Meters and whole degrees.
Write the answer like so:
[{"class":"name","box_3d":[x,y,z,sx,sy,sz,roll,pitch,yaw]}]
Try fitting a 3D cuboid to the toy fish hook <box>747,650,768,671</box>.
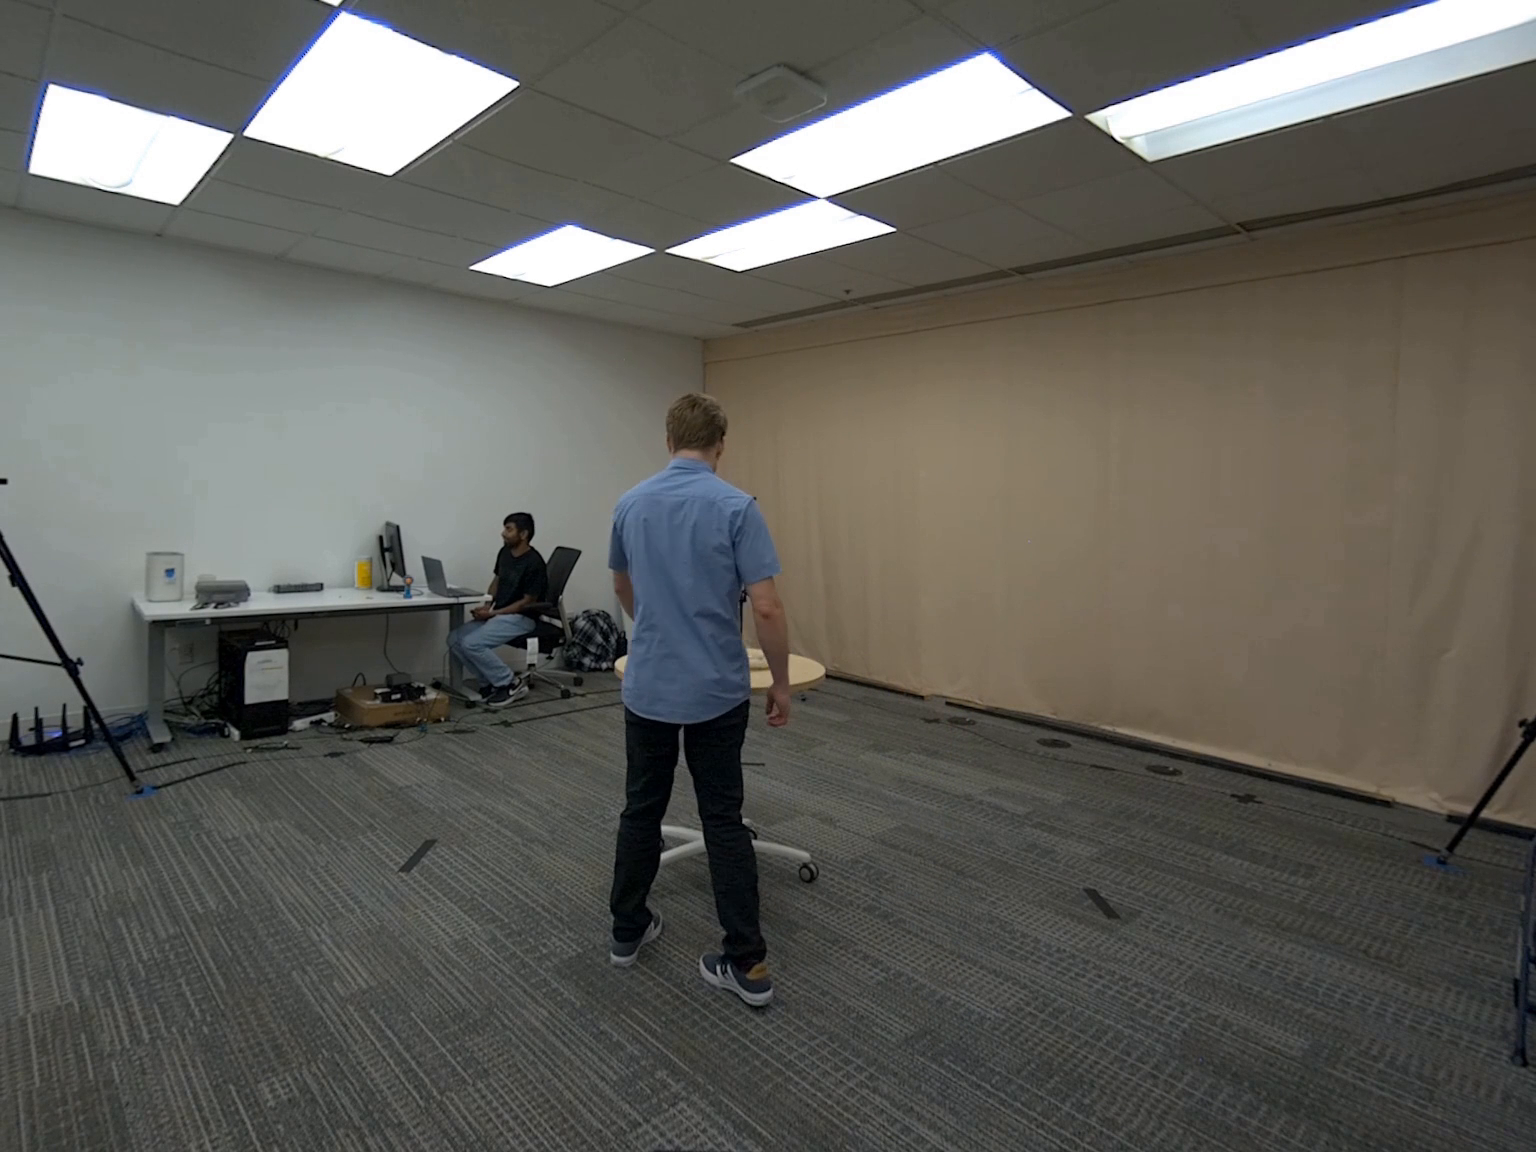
[{"class":"toy fish hook","box_3d":[-0.227,0.318,3.058,0.503,0.048,0.225,2,-5,-7]}]
